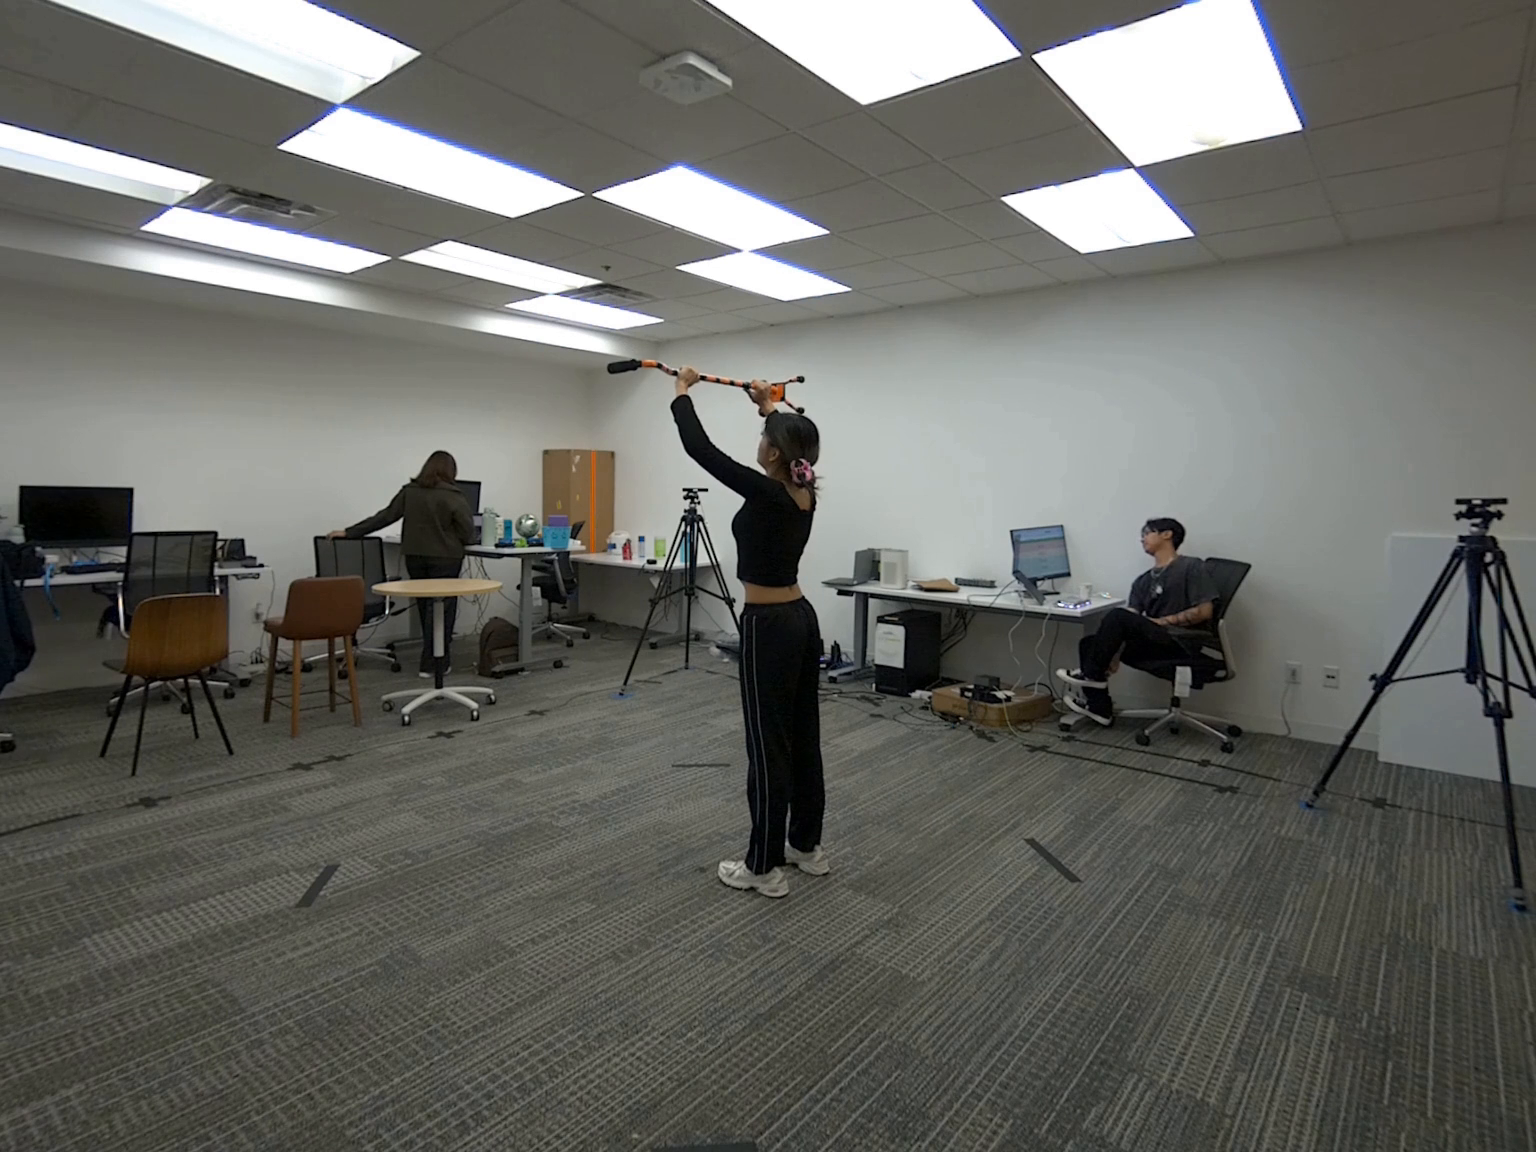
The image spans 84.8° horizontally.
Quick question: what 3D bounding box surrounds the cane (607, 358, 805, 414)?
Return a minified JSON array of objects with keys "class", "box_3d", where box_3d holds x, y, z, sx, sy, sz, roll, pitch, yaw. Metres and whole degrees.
[{"class":"cane","box_3d":[-0.200,-0.691,3.046,0.213,0.151,0.882,3,6,35]}]
